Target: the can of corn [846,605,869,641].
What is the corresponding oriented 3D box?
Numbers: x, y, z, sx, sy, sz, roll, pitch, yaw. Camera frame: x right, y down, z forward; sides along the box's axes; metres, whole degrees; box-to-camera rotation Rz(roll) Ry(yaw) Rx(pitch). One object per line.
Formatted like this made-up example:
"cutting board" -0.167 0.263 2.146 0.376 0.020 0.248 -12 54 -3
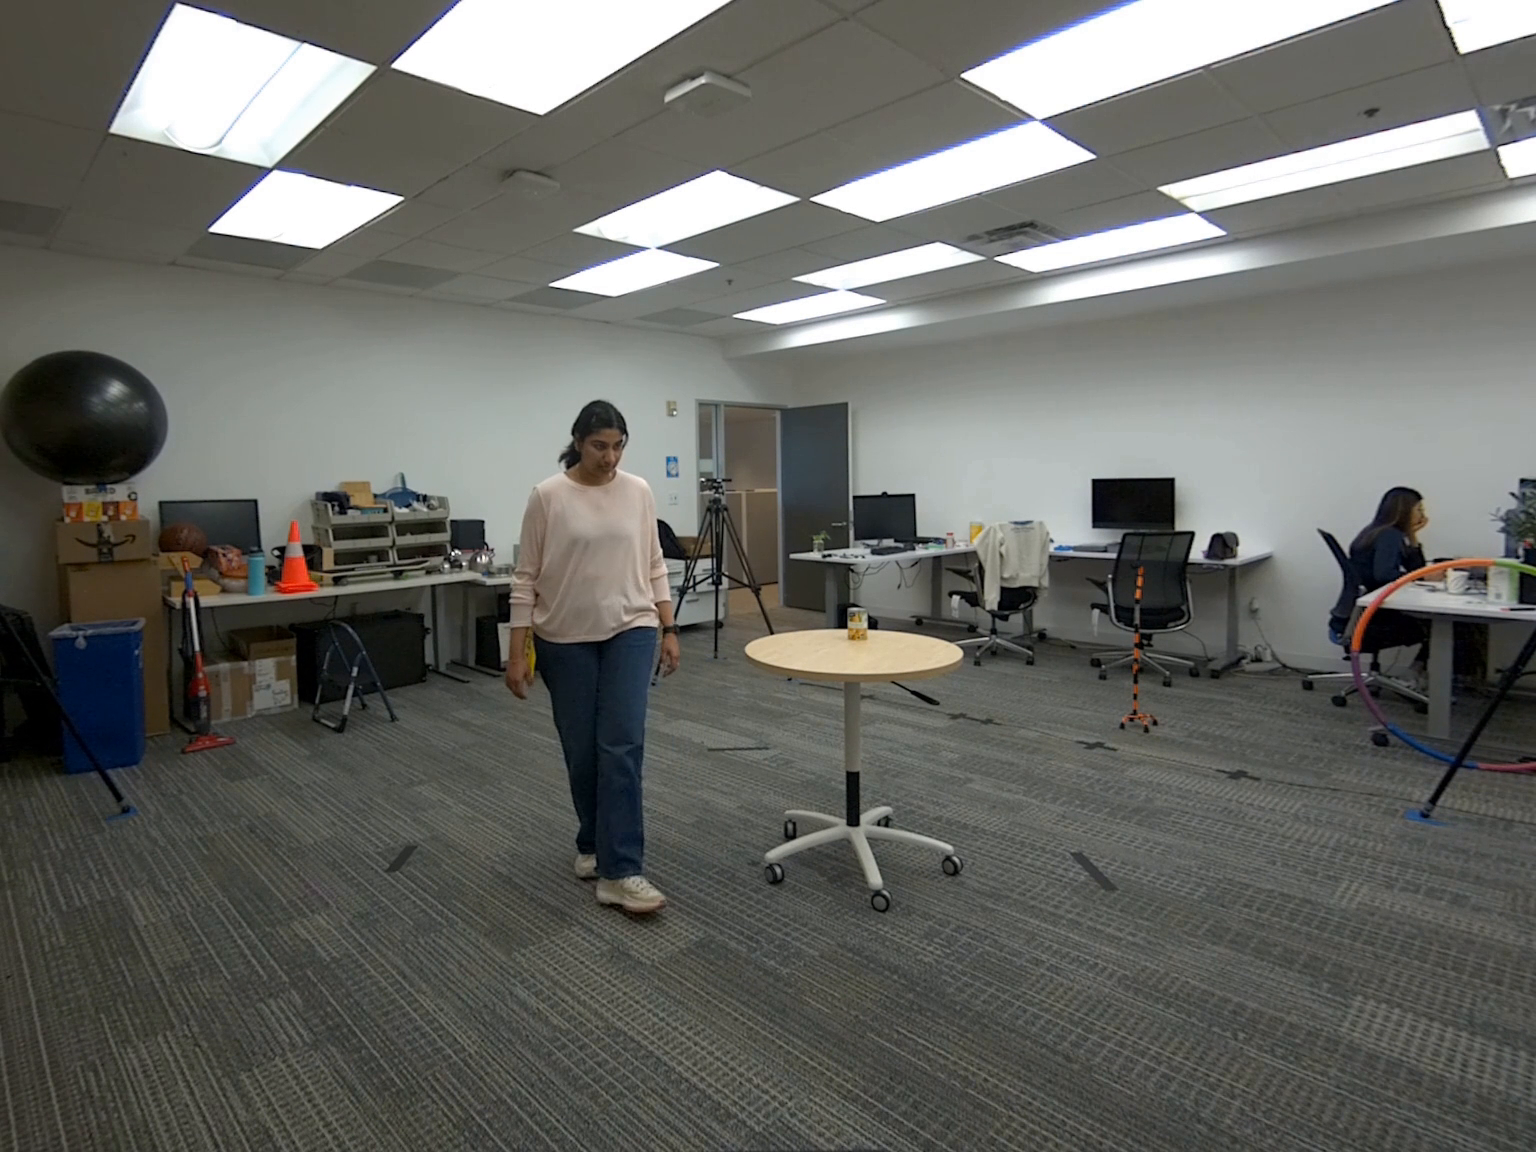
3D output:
"can of corn" 0.339 0.182 3.237 0.074 0.110 0.074 1 5 -2
